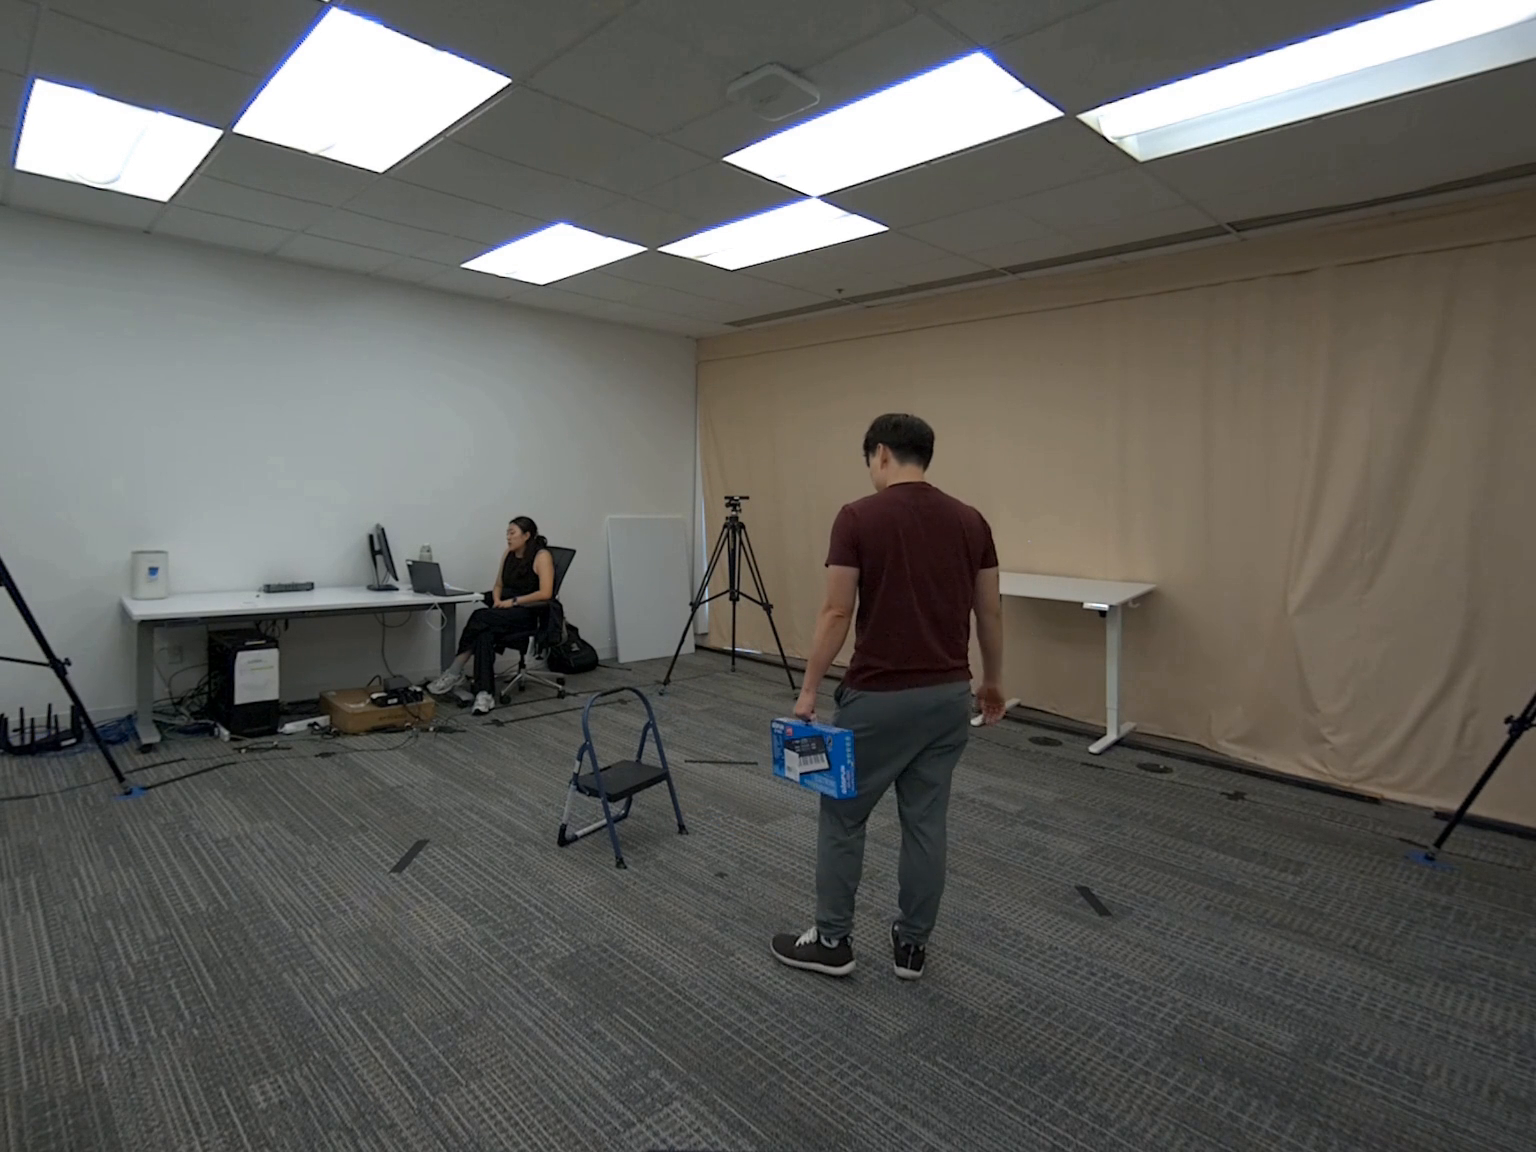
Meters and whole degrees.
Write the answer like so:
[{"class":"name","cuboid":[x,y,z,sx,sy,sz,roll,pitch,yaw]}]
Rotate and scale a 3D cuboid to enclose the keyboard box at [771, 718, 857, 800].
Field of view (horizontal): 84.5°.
[{"class":"keyboard box","cuboid":[0.114,0.520,2.442,0.058,0.176,0.442,0,-3,-21]}]
